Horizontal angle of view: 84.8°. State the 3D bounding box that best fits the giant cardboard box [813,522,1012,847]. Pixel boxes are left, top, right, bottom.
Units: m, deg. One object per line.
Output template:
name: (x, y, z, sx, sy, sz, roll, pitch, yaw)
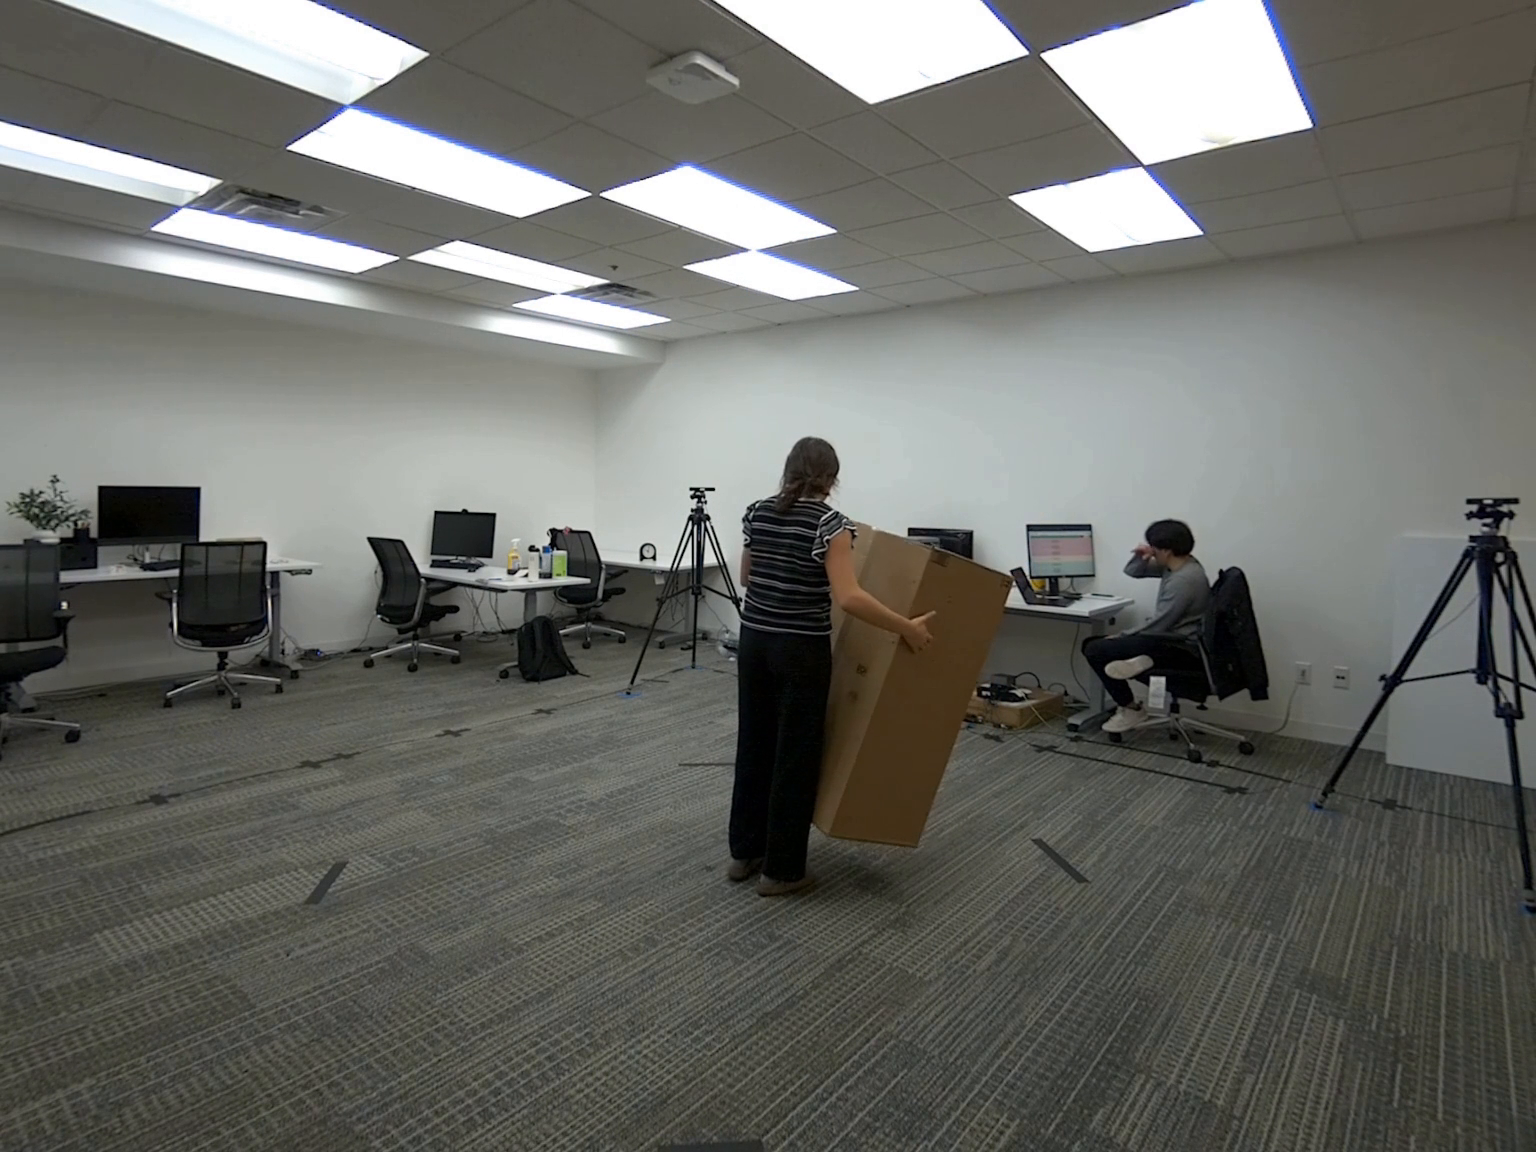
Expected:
giant cardboard box: (0.383, 0.369, 3.146, 0.411, 1.024, 0.598, 19, 3, -32)
